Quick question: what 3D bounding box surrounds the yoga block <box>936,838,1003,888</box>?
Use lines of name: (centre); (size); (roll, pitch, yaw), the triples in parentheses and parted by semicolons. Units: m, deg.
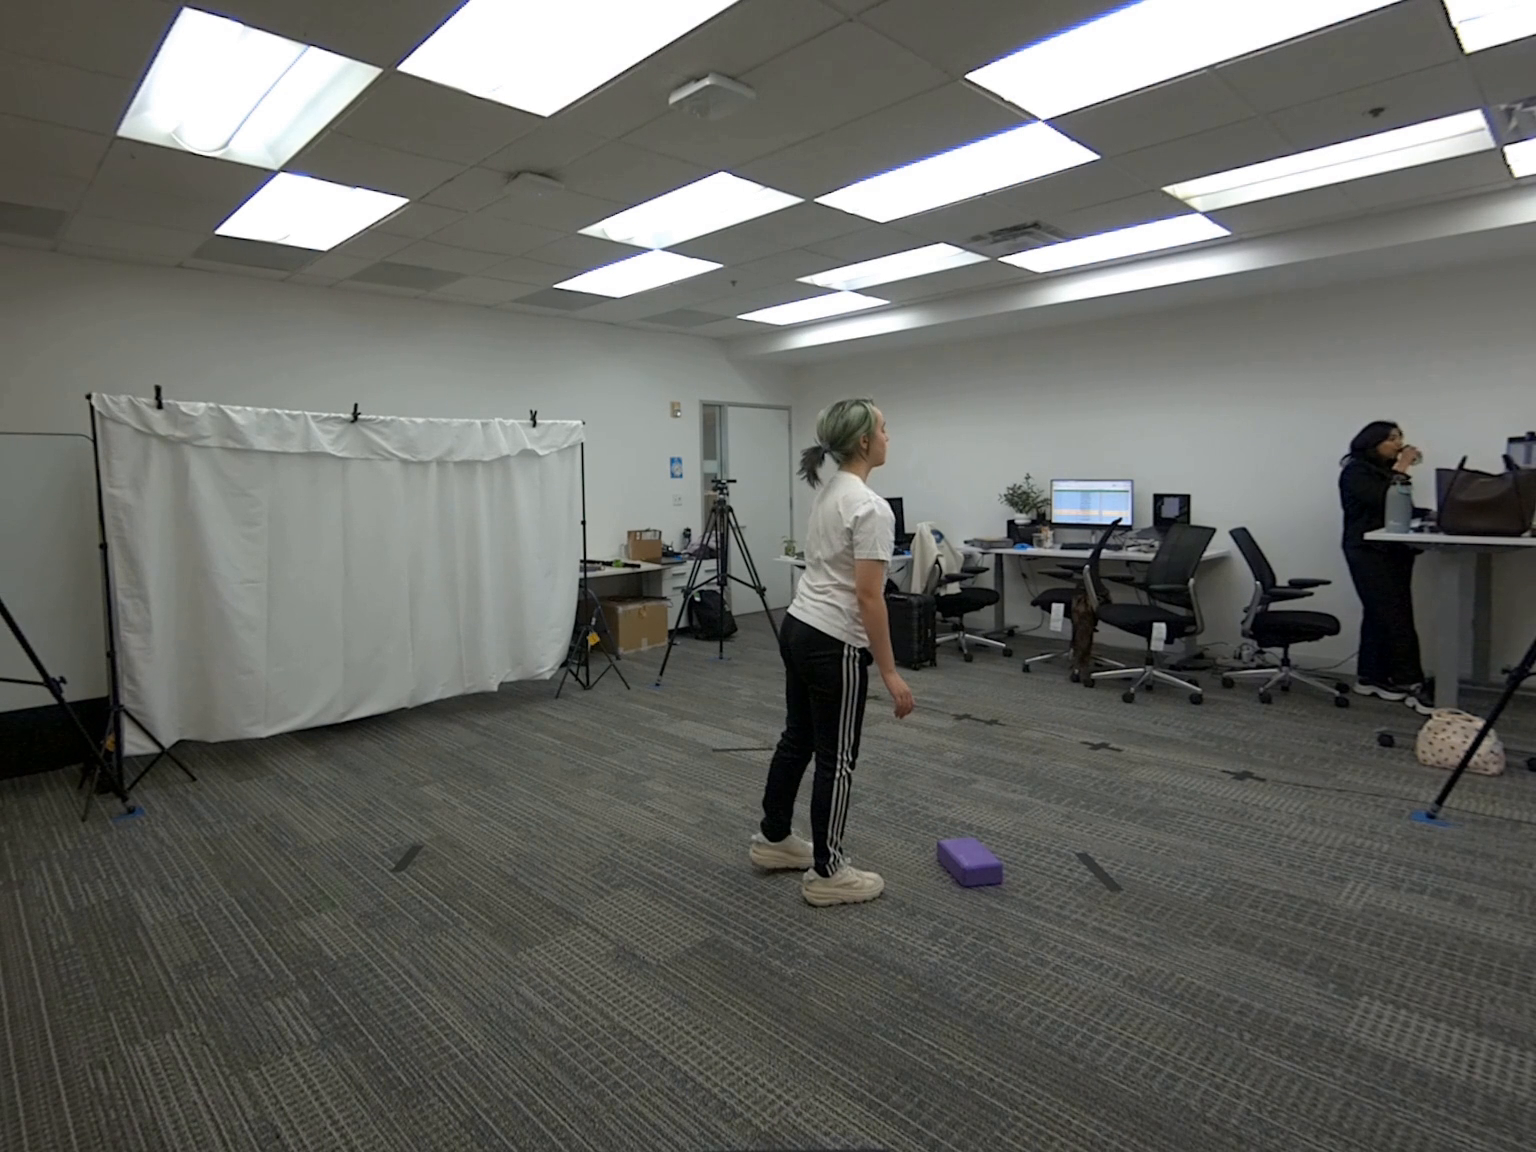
yoga block: (0.712, 1.005, 3.013); (0.148, 0.076, 0.232); (-2, 6, -10)
